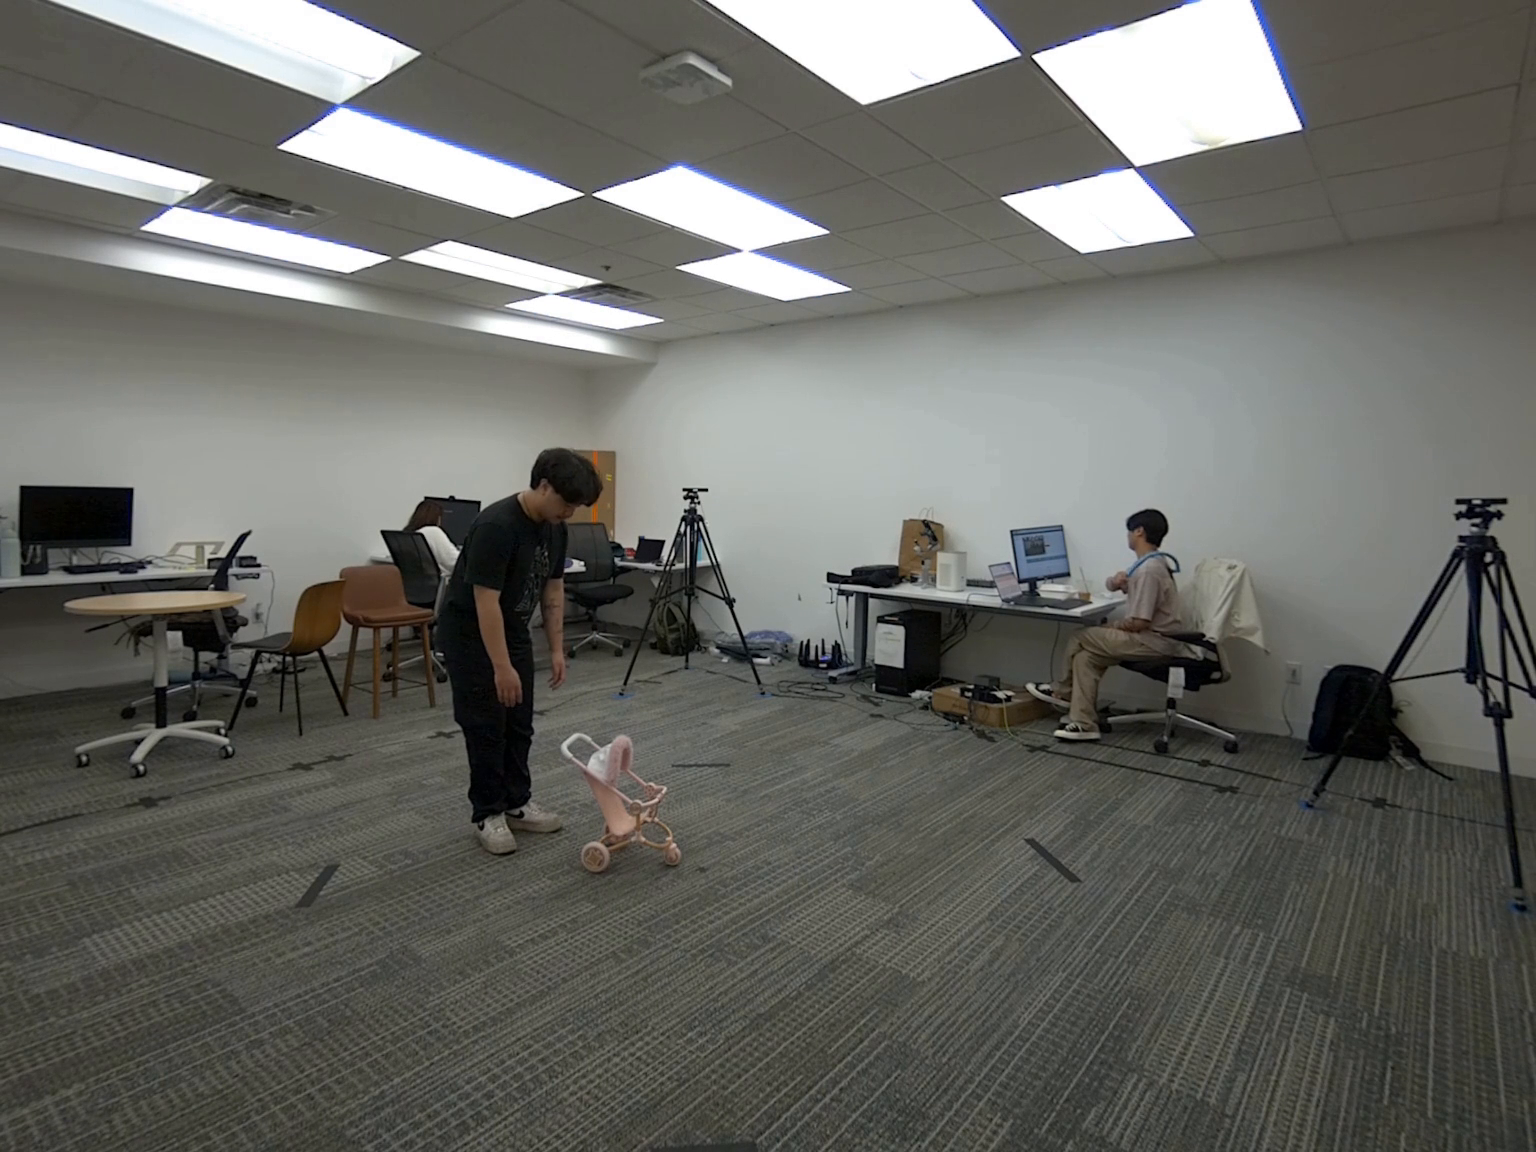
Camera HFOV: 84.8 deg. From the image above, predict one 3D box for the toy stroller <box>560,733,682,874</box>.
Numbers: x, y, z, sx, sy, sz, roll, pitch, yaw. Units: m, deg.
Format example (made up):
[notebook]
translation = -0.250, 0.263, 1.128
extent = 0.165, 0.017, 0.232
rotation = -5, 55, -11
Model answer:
[toy stroller]
translation = -0.549, 0.835, 3.164
extent = 0.346, 0.535, 0.277
rotation = -14, 0, 16
